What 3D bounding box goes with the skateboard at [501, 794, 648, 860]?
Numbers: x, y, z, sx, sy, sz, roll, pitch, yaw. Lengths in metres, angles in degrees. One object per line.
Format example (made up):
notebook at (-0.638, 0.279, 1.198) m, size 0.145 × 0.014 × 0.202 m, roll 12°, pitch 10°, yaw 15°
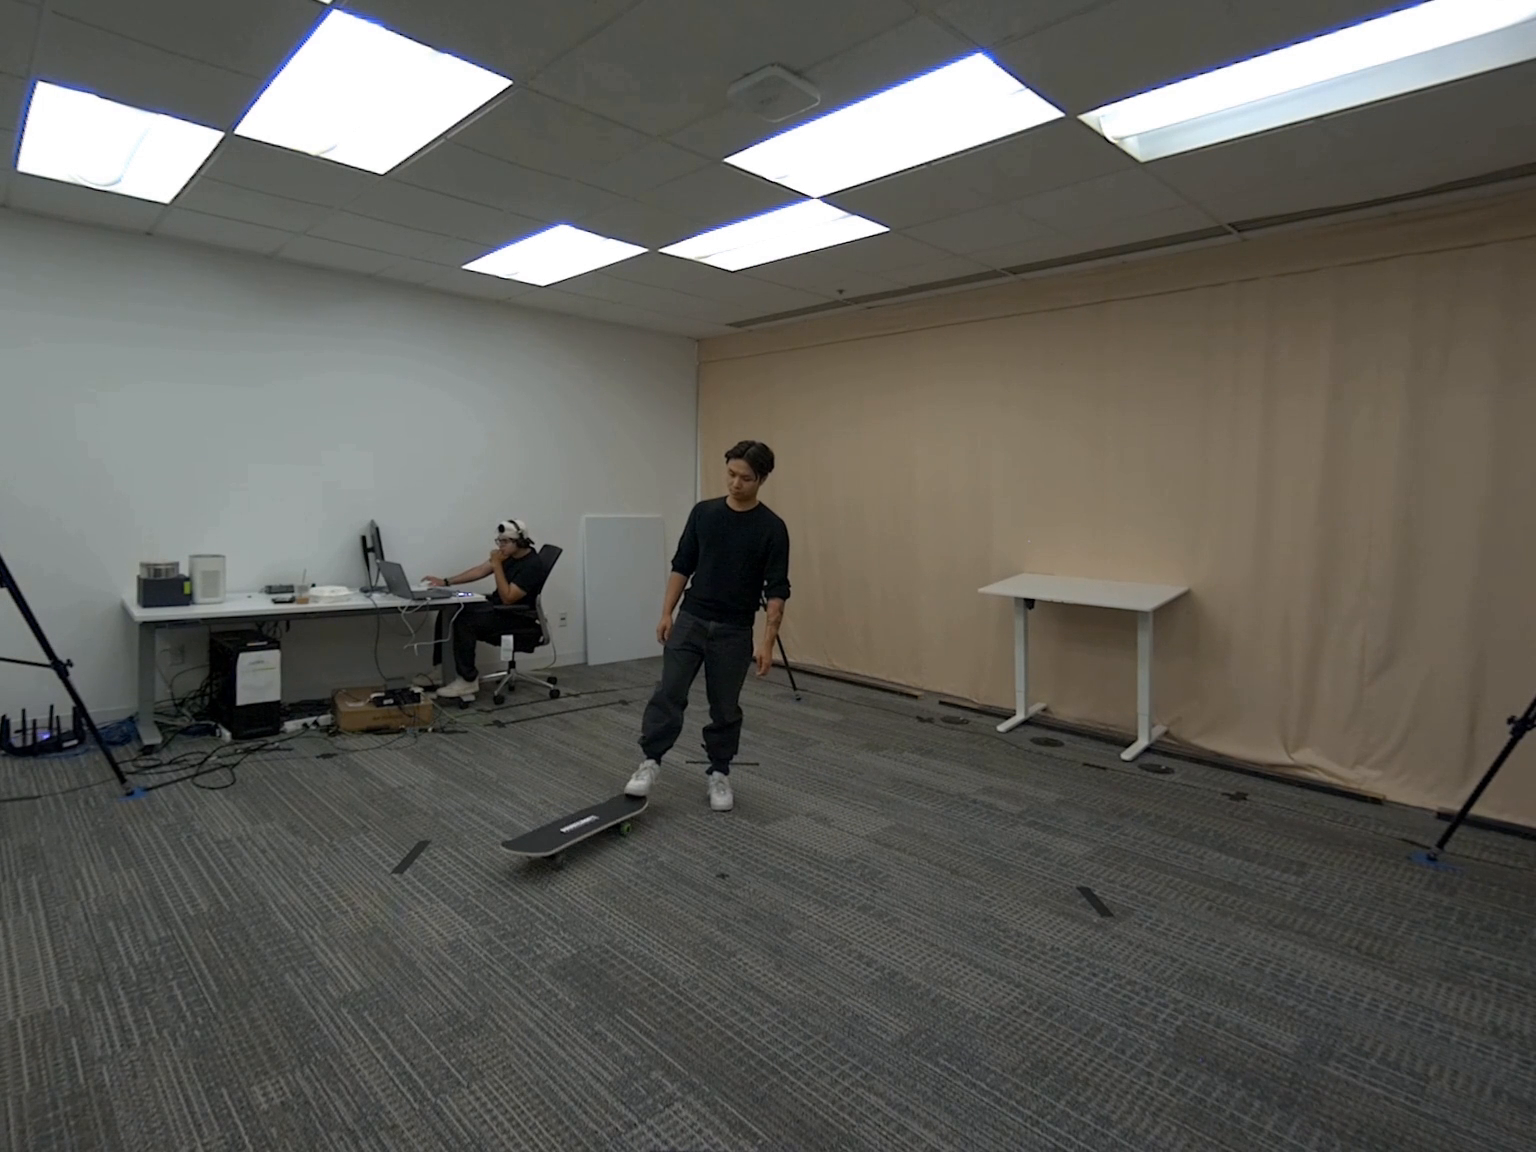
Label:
skateboard at (-0.752, 1.011, 3.323) m, size 0.197 × 0.110 × 0.770 m, roll 4°, pitch 4°, yaw 28°
